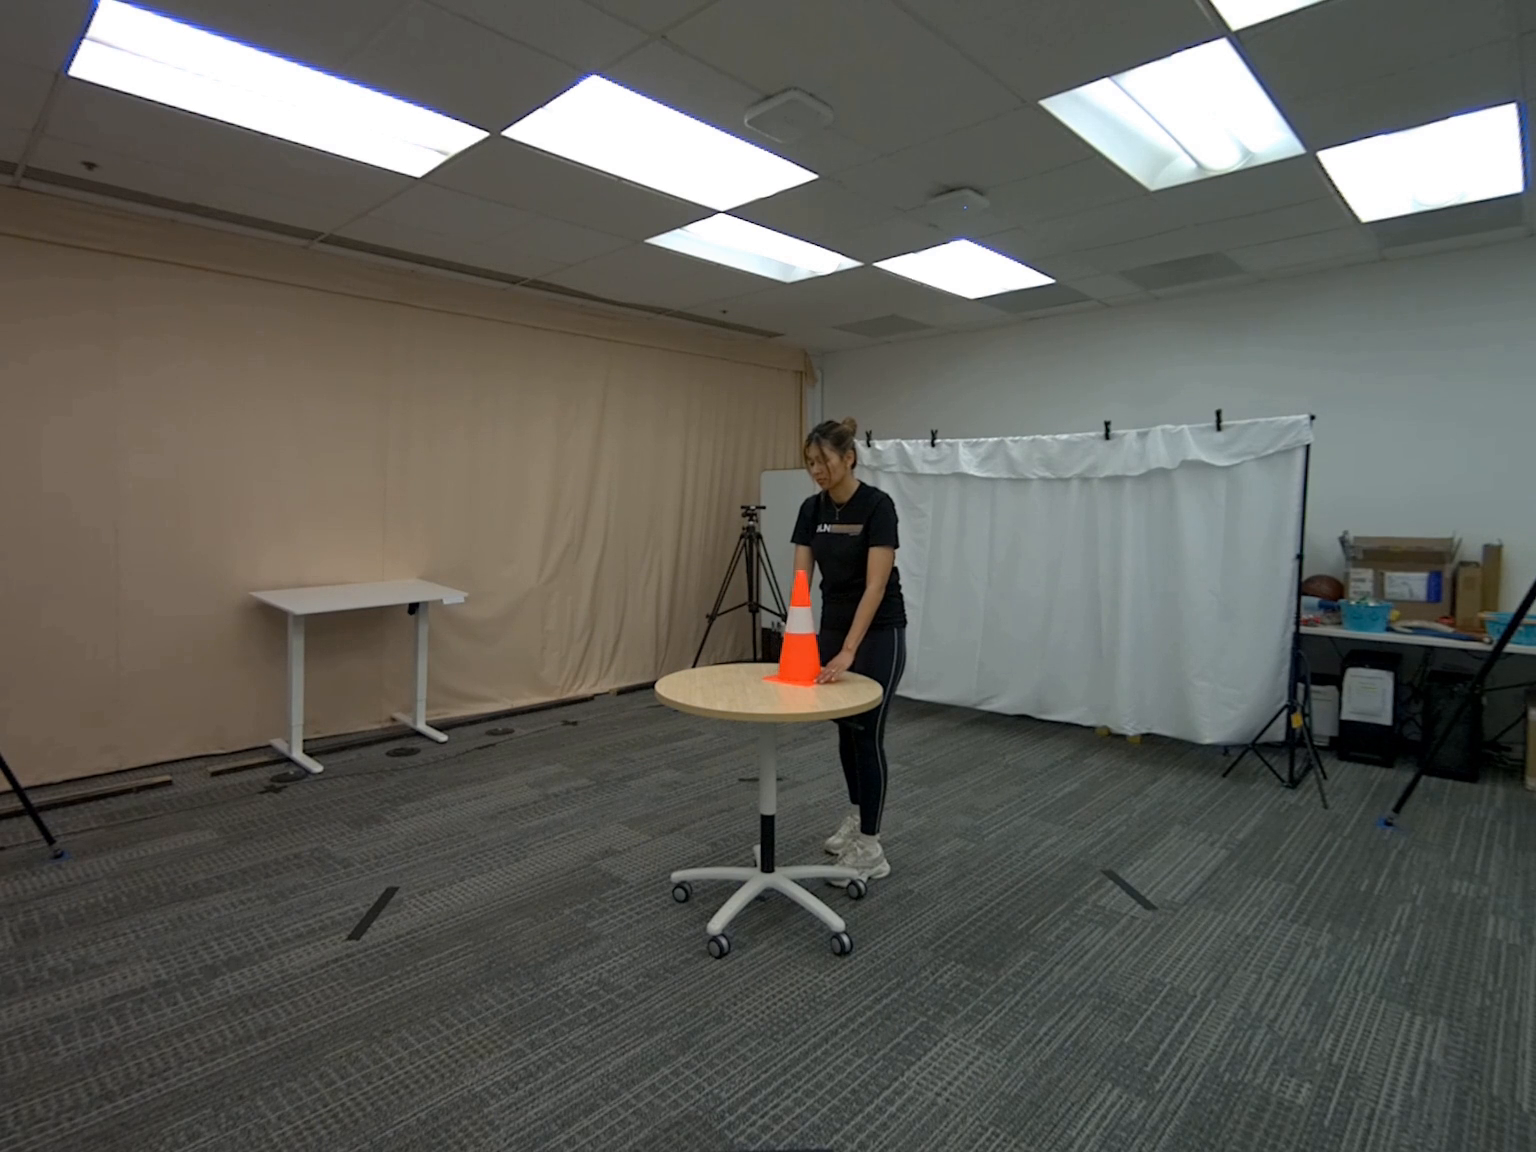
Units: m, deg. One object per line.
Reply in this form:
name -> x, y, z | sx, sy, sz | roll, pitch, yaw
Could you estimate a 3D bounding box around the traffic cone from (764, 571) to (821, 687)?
traffic cone -> 0.121, 0.168, 2.956 | 0.210, 0.383, 0.198 | 4, 4, 43
